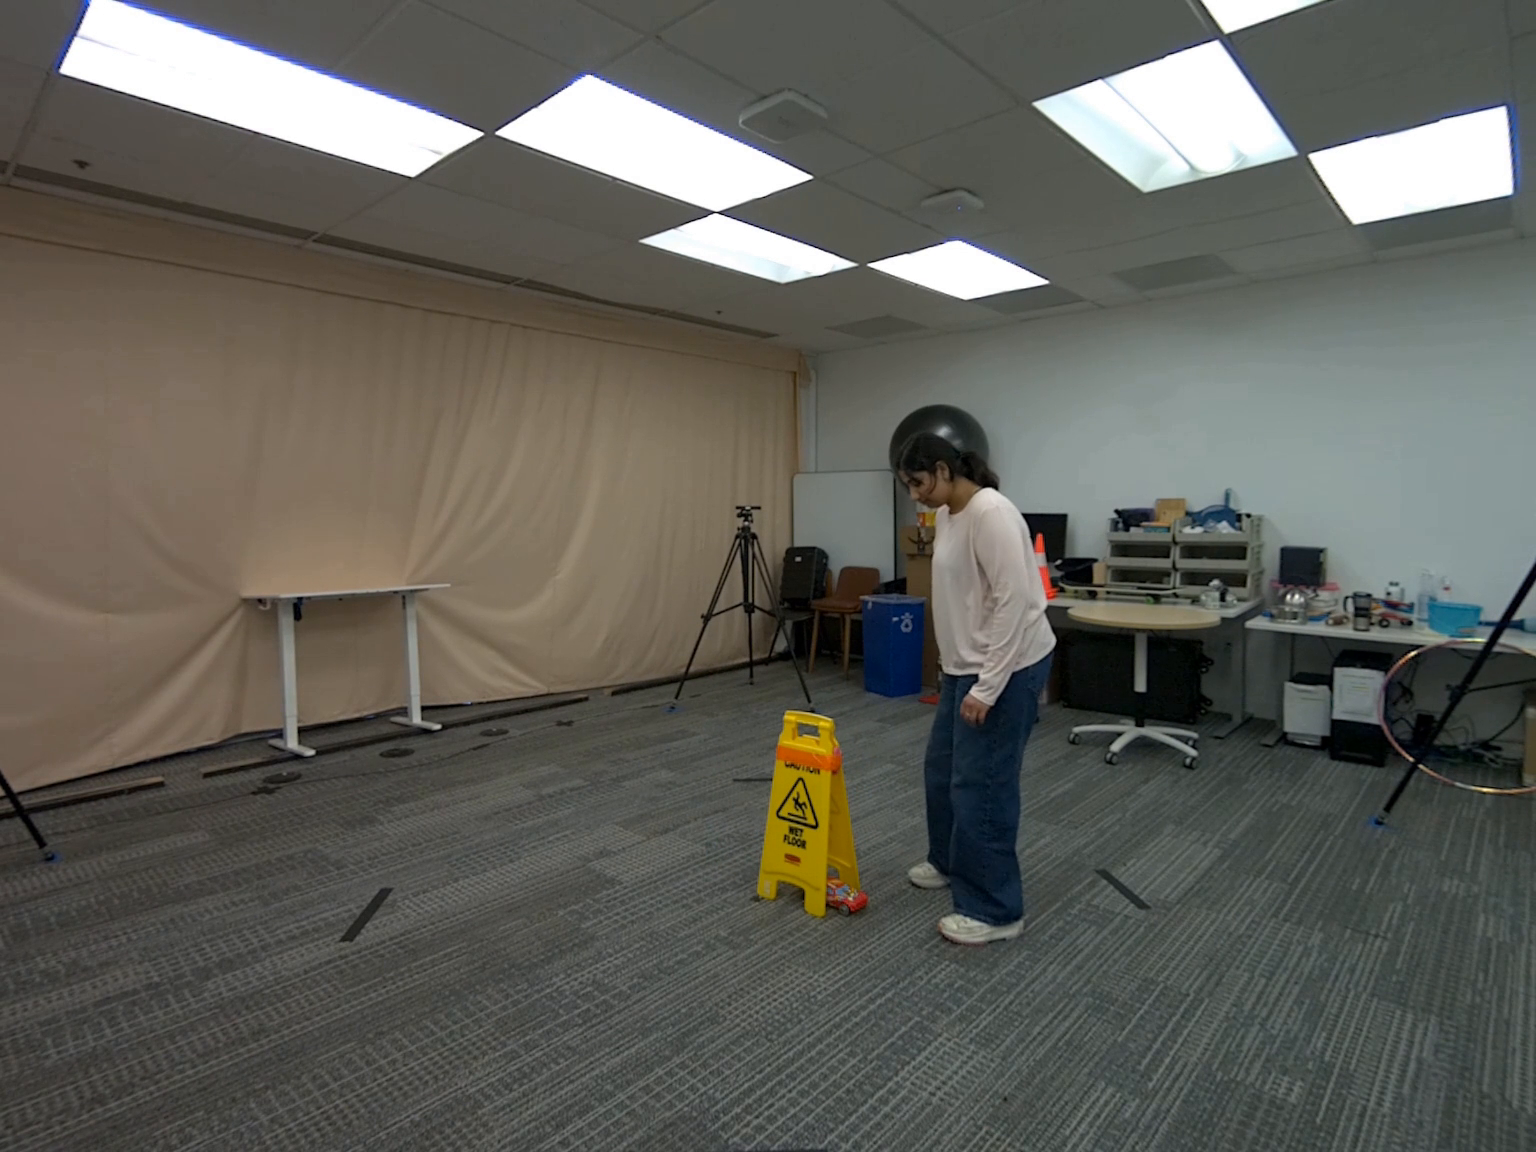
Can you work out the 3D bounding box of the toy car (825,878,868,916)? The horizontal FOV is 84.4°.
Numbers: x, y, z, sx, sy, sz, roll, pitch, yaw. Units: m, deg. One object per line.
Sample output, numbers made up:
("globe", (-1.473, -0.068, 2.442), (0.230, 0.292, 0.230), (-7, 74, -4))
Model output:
("toy car", (0.224, 1.109, 2.959), (0.126, 0.083, 0.264), (-7, 18, -45))
